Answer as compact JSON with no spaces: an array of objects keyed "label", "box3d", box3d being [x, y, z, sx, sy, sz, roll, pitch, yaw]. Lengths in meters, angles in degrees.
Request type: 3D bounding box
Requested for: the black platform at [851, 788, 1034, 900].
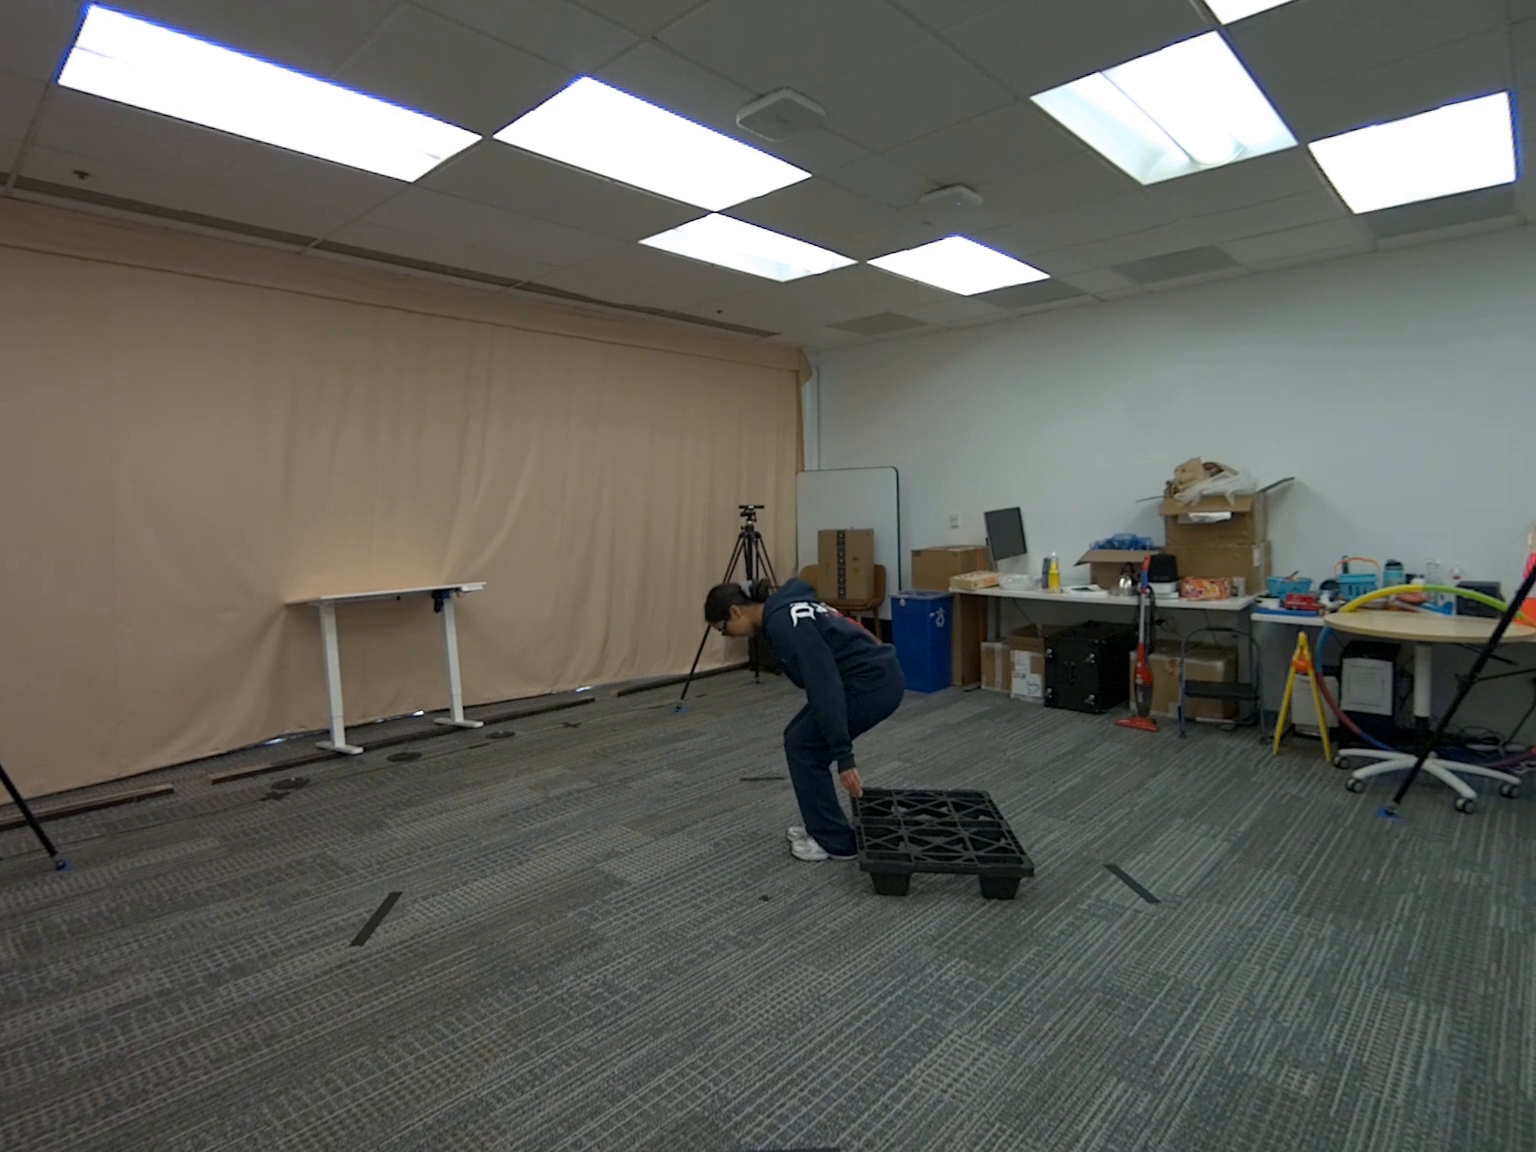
[{"label":"black platform","box3d":[0.651,1.034,3.314,0.608,0.143,0.803,0,5,4]}]
